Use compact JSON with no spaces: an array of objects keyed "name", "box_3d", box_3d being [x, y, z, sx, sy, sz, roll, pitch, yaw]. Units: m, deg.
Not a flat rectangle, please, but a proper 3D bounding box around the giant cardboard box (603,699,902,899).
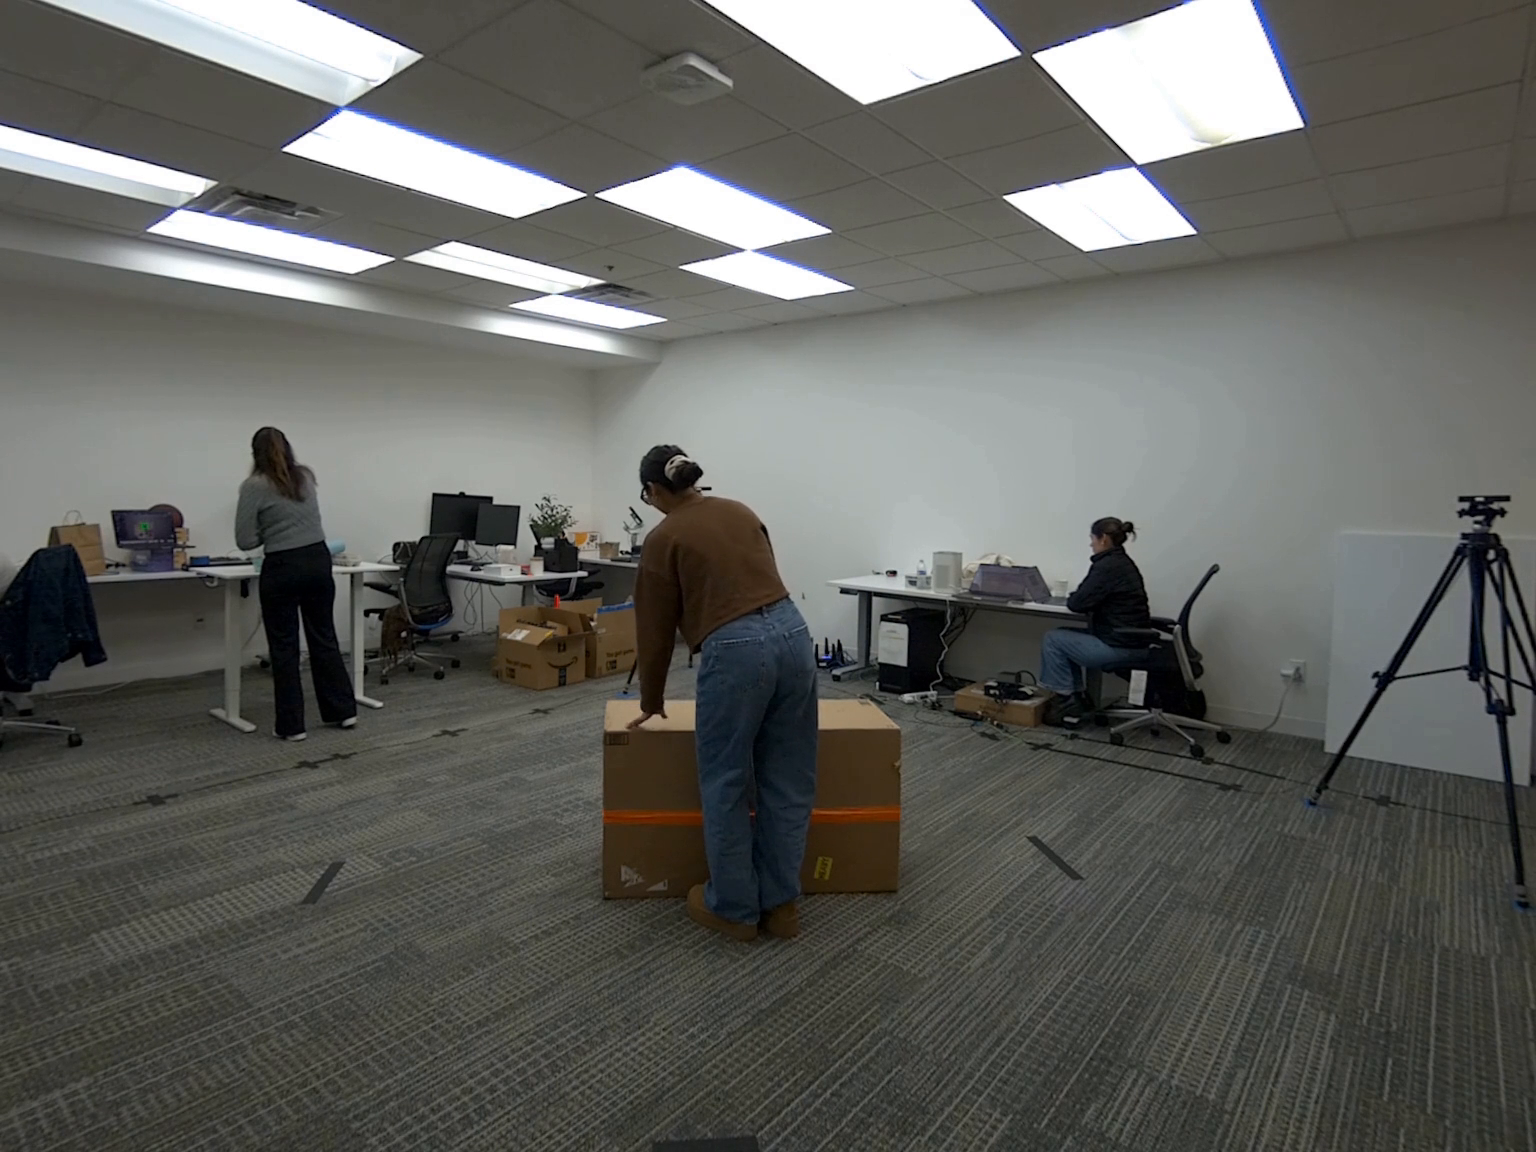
[{"name":"giant cardboard box","box_3d":[-0.086,0.784,3.095,1.021,0.583,0.450,0,3,-6]}]
